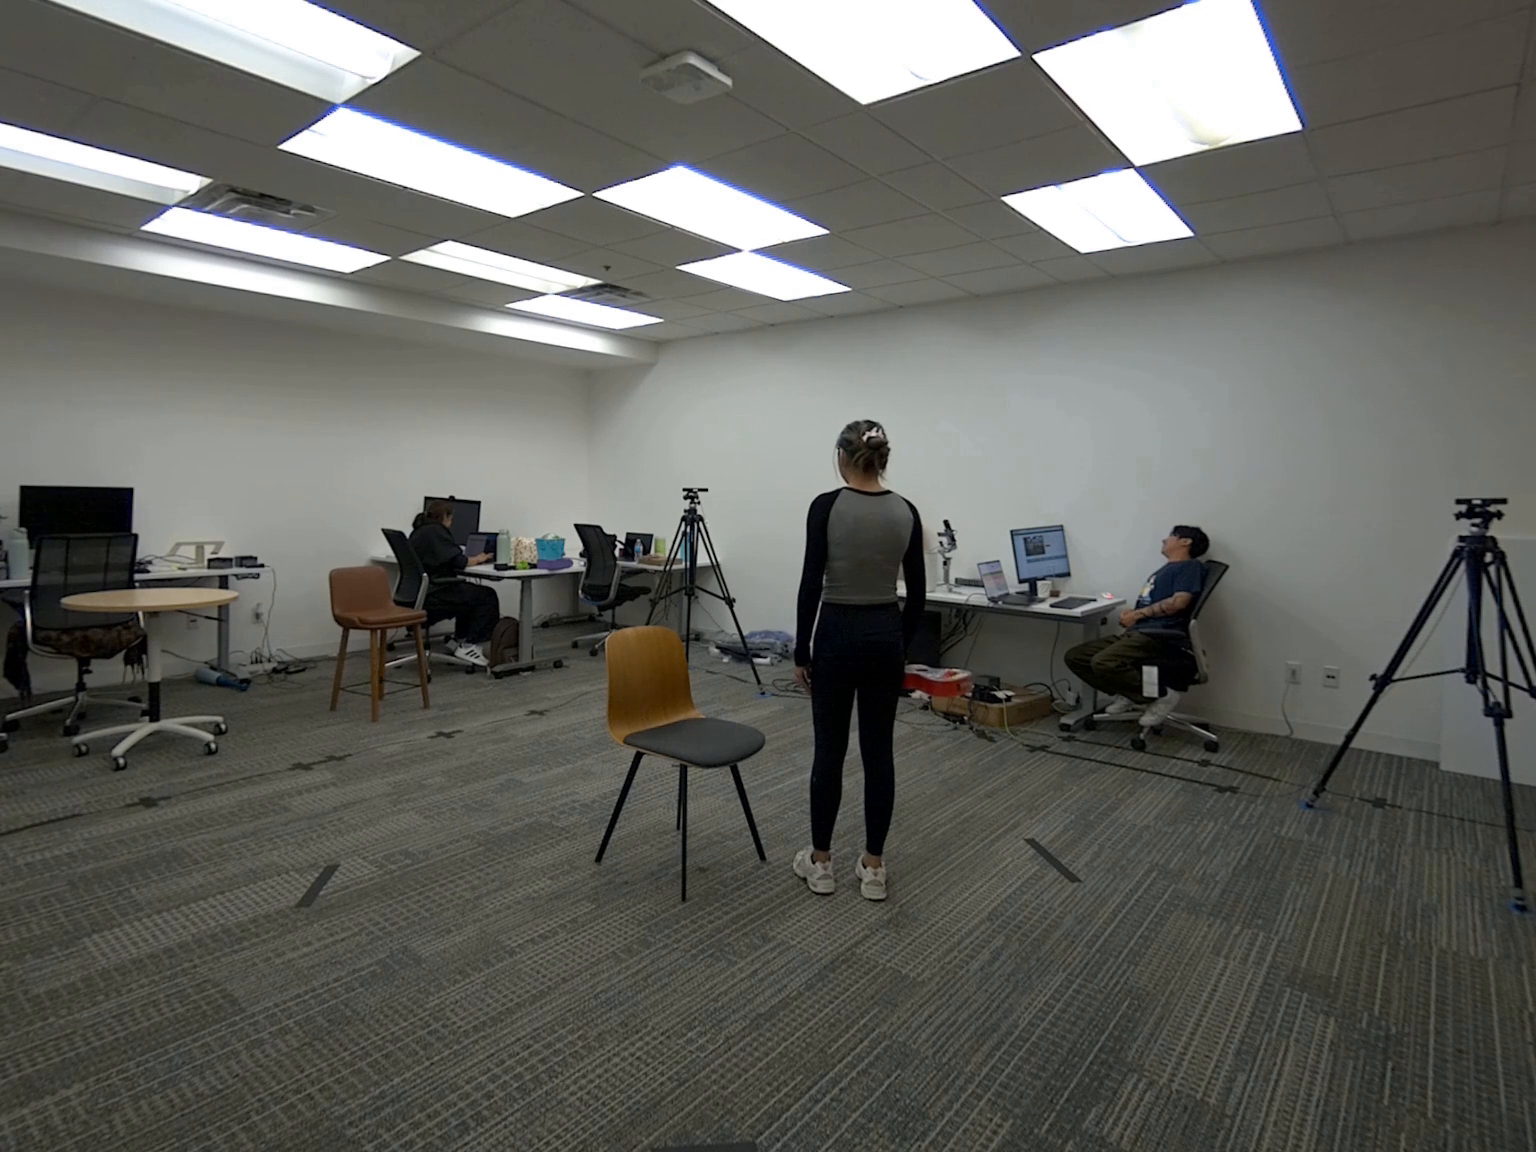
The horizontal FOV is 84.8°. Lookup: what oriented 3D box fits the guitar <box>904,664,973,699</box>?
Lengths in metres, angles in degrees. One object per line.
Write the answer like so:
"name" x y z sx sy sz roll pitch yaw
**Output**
"guitar" 0.513 0.359 3.144 0.188 0.070 0.514 -7 8 -38
